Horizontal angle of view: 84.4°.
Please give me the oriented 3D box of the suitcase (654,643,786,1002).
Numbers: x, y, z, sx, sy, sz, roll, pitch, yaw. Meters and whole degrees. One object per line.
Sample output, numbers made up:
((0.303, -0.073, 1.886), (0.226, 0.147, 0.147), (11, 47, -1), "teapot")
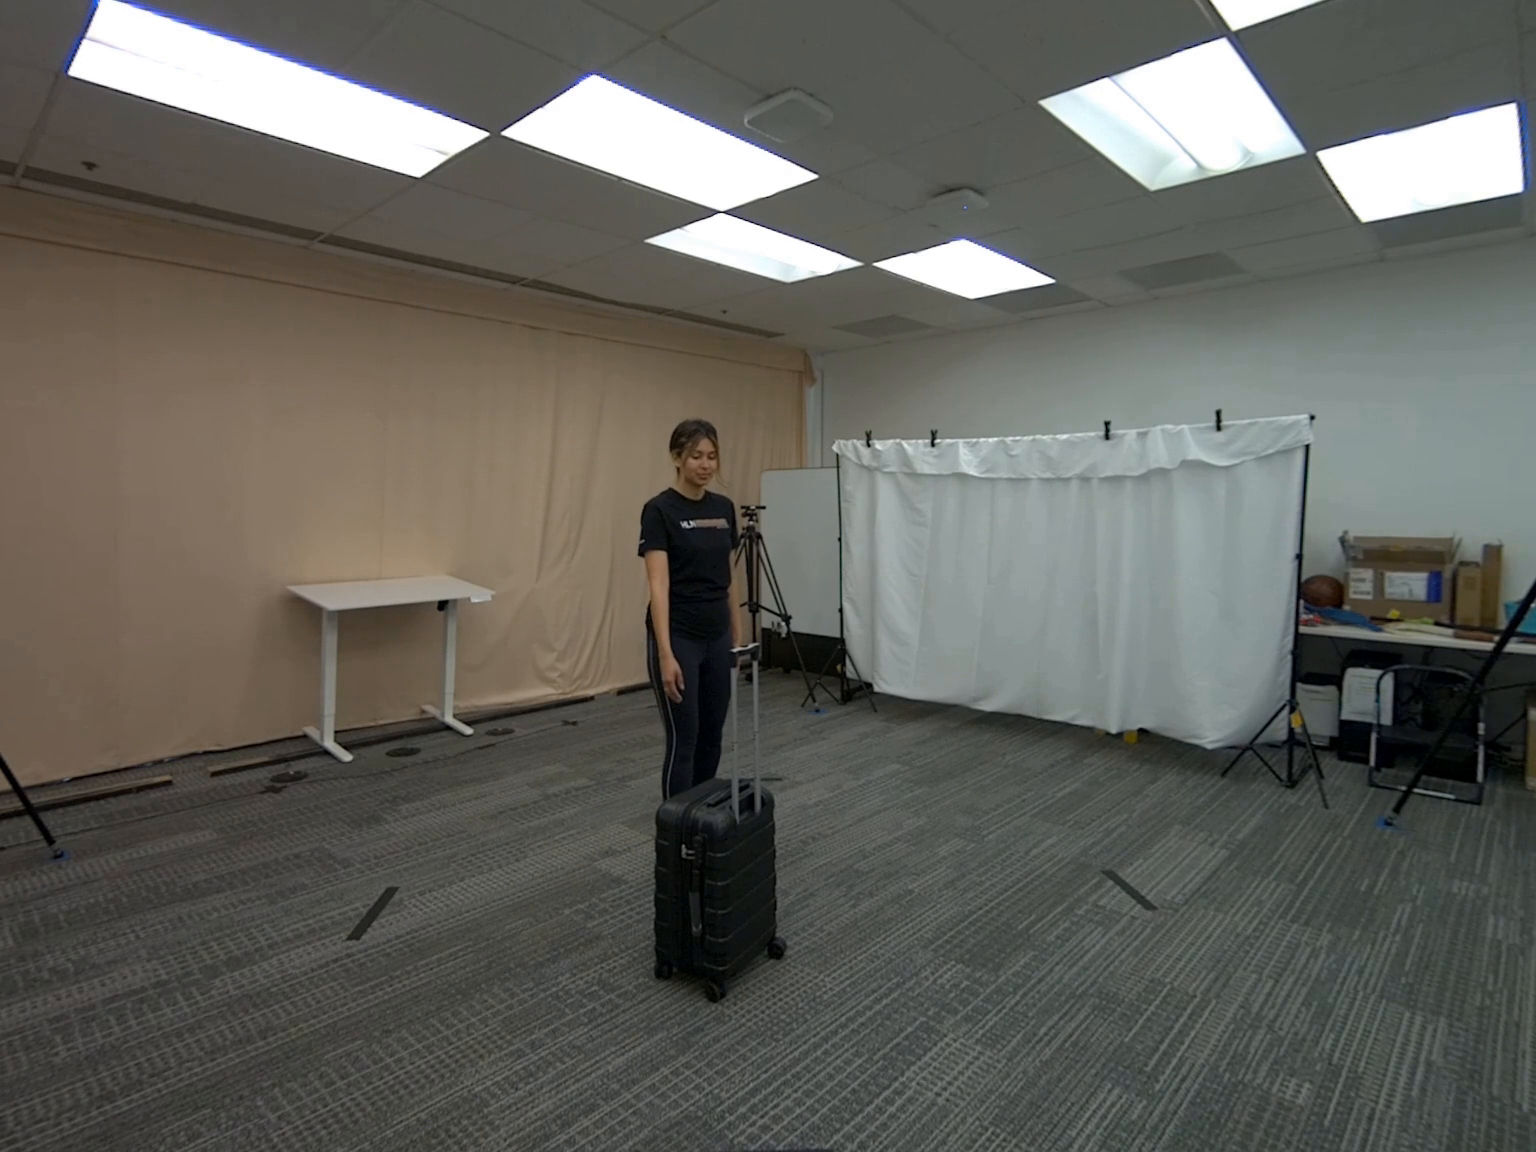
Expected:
((-0.152, 0.710, 2.509), (0.264, 0.976, 0.375), (-1, 3, 27), "suitcase")
